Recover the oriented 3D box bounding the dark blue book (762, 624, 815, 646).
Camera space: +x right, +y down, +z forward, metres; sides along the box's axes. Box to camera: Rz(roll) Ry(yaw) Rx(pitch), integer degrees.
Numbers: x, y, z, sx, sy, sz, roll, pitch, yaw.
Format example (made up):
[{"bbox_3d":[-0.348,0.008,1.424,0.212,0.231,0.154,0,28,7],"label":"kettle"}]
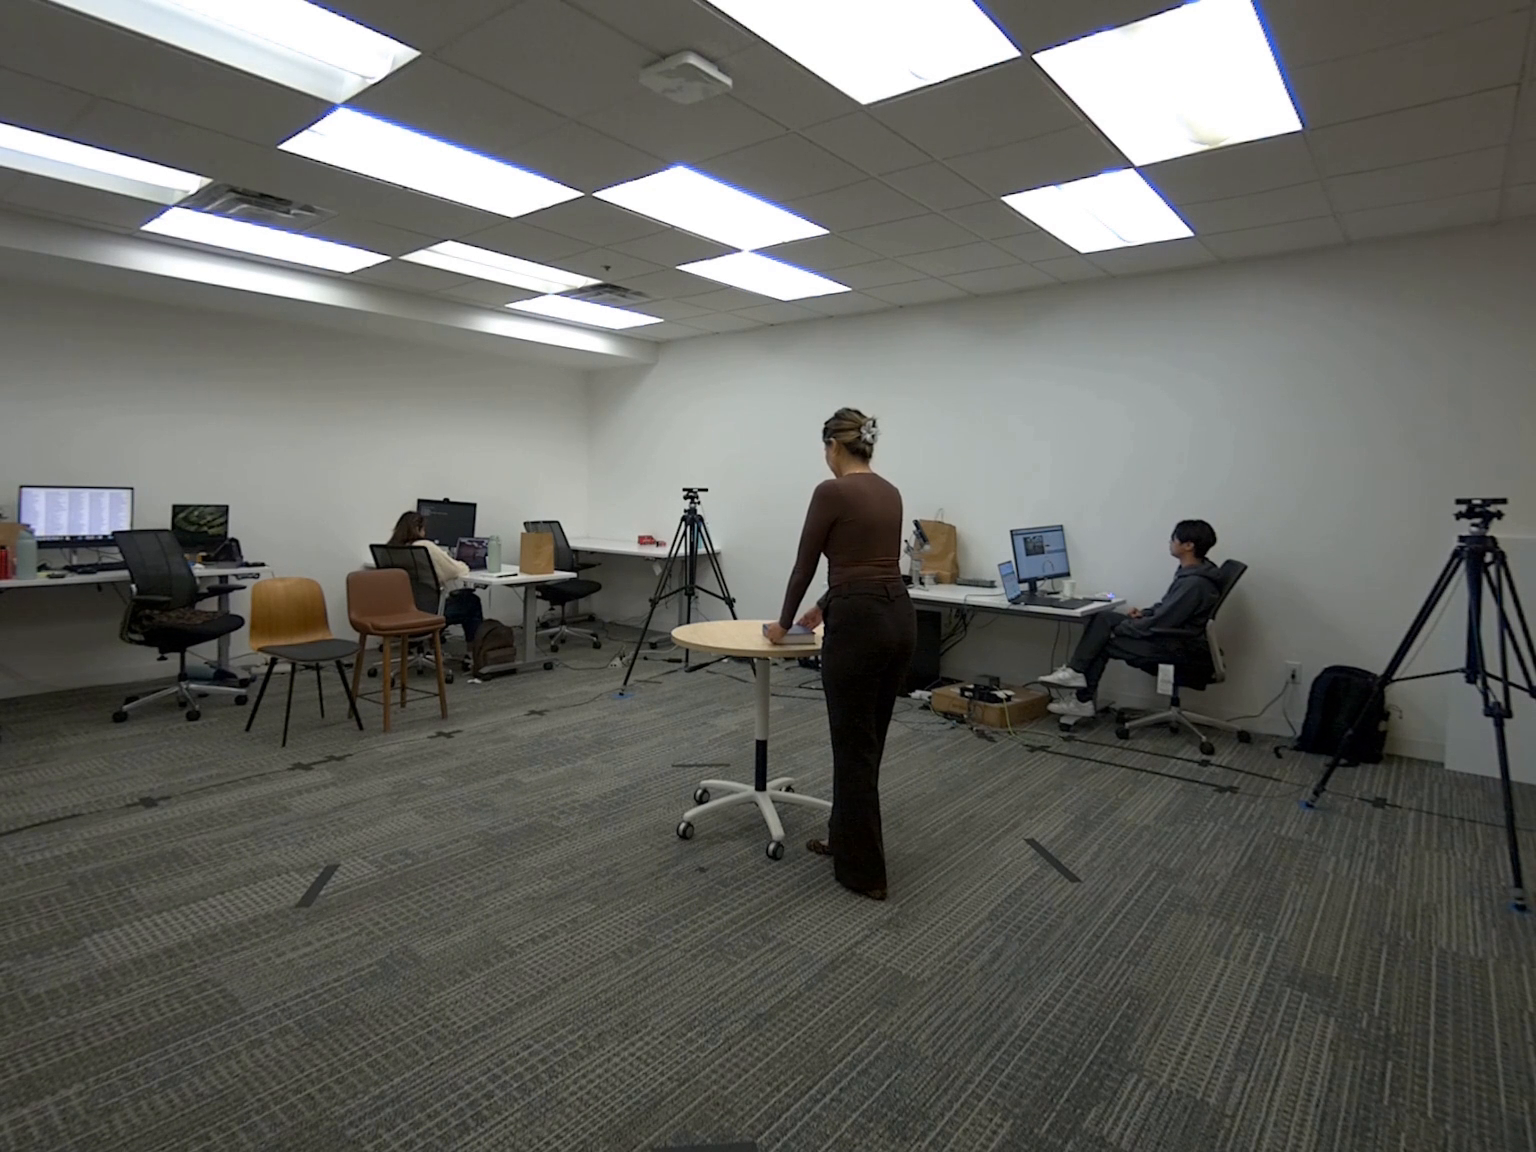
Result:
[{"bbox_3d":[0.072,0.233,3.385,0.162,0.045,0.249,0,7,-10],"label":"dark blue book"}]
